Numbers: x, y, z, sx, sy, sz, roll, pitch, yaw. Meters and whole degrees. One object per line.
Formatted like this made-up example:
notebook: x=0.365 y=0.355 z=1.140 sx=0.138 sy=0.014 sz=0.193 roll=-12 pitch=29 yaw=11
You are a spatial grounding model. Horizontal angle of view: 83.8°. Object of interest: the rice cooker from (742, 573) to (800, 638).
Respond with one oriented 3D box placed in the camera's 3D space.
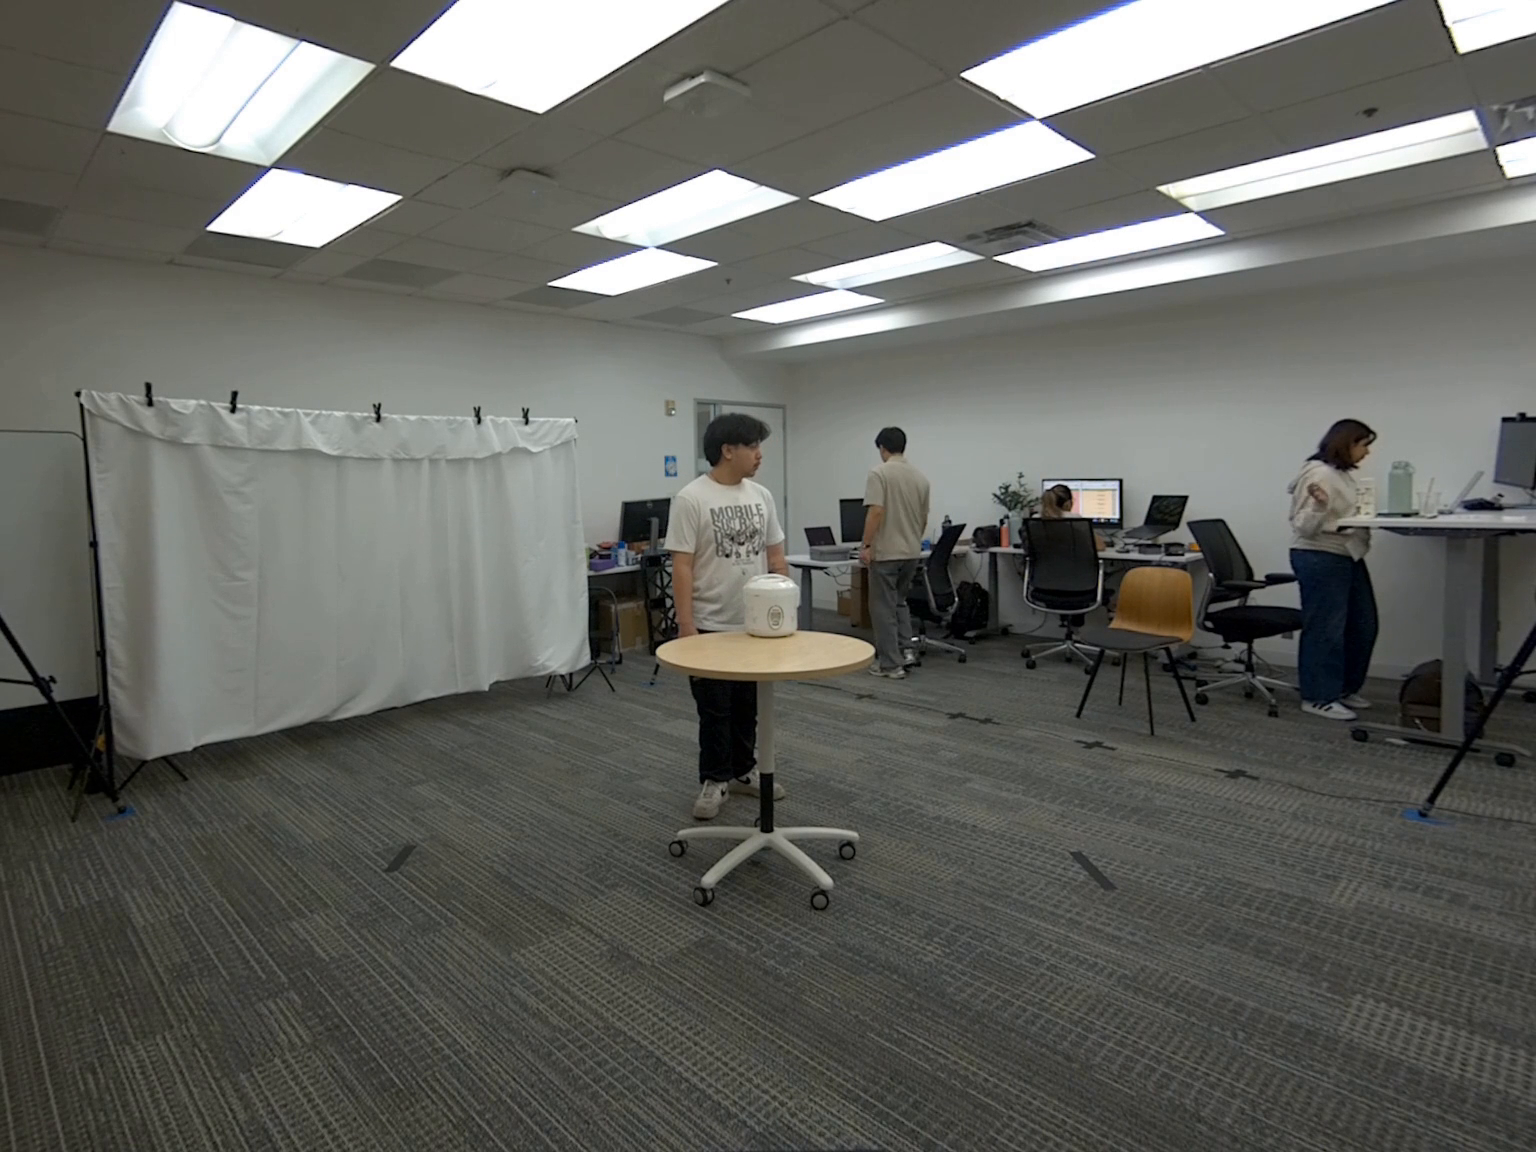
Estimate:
rice cooker: x=0.010 y=0.112 z=3.290 sx=0.219 sy=0.232 sz=0.219 roll=-2 pitch=3 yaw=-7
